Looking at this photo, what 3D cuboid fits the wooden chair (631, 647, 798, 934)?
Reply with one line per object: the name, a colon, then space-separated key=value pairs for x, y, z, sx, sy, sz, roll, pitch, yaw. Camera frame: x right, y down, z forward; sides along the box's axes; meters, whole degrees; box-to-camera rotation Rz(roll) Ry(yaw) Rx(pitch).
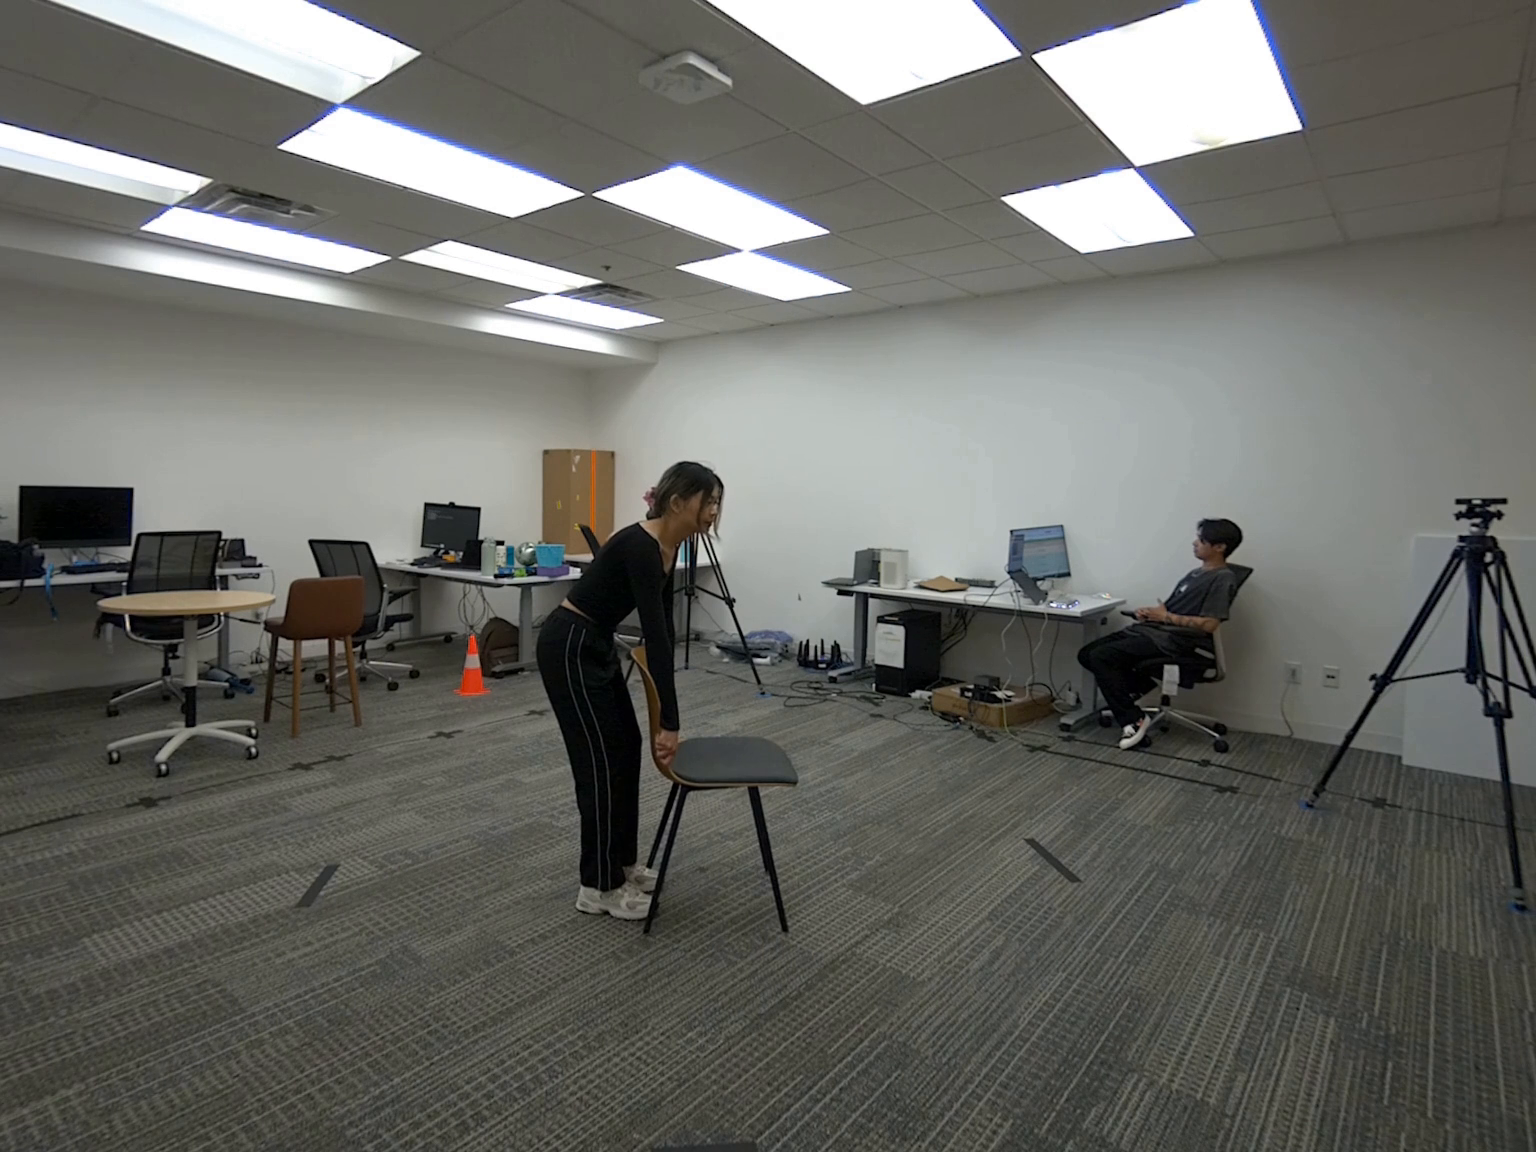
wooden chair: x=-0.176 y=0.665 z=2.852 sx=0.521 sy=0.875 sz=0.482 roll=-3 pitch=3 yaw=-6
